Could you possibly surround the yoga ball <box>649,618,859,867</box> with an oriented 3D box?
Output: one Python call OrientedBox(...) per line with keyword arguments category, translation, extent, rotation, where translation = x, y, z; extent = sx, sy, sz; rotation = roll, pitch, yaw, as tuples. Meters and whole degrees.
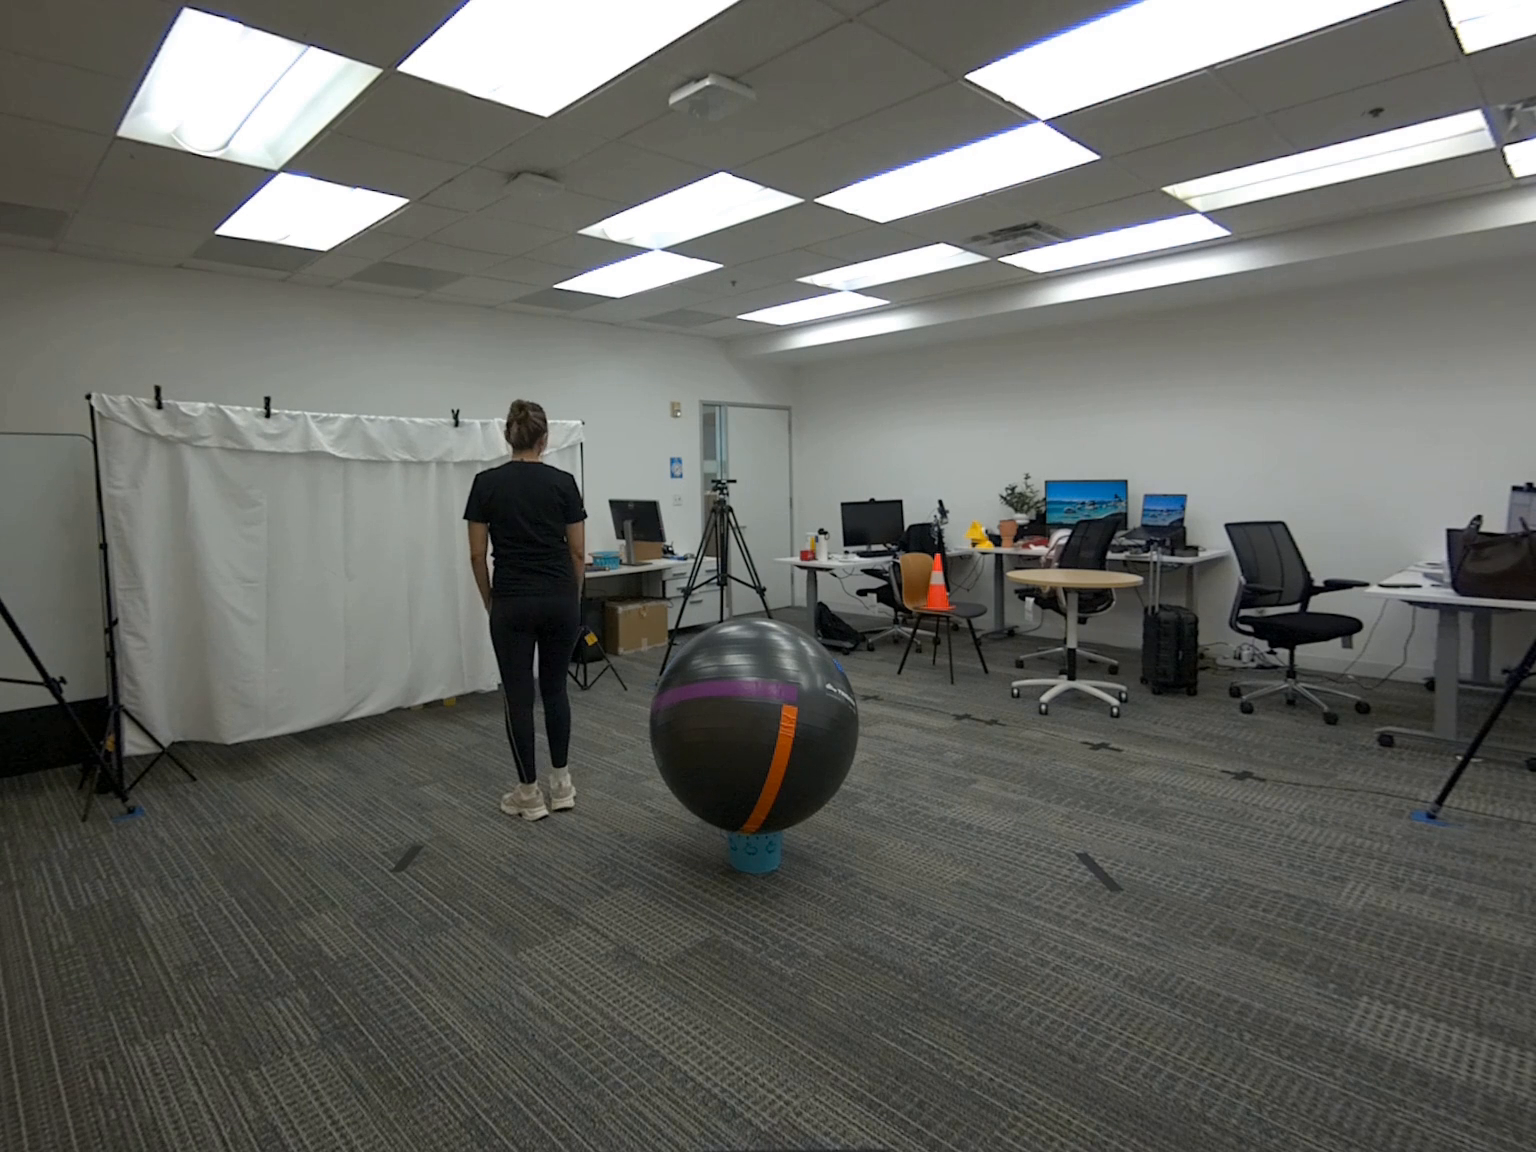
OrientedBox(category="yoga ball", translation=(-0.050, 0.538, 3.105), extent=(0.757, 0.755, 0.762), rotation=(-1, 5, -2))
